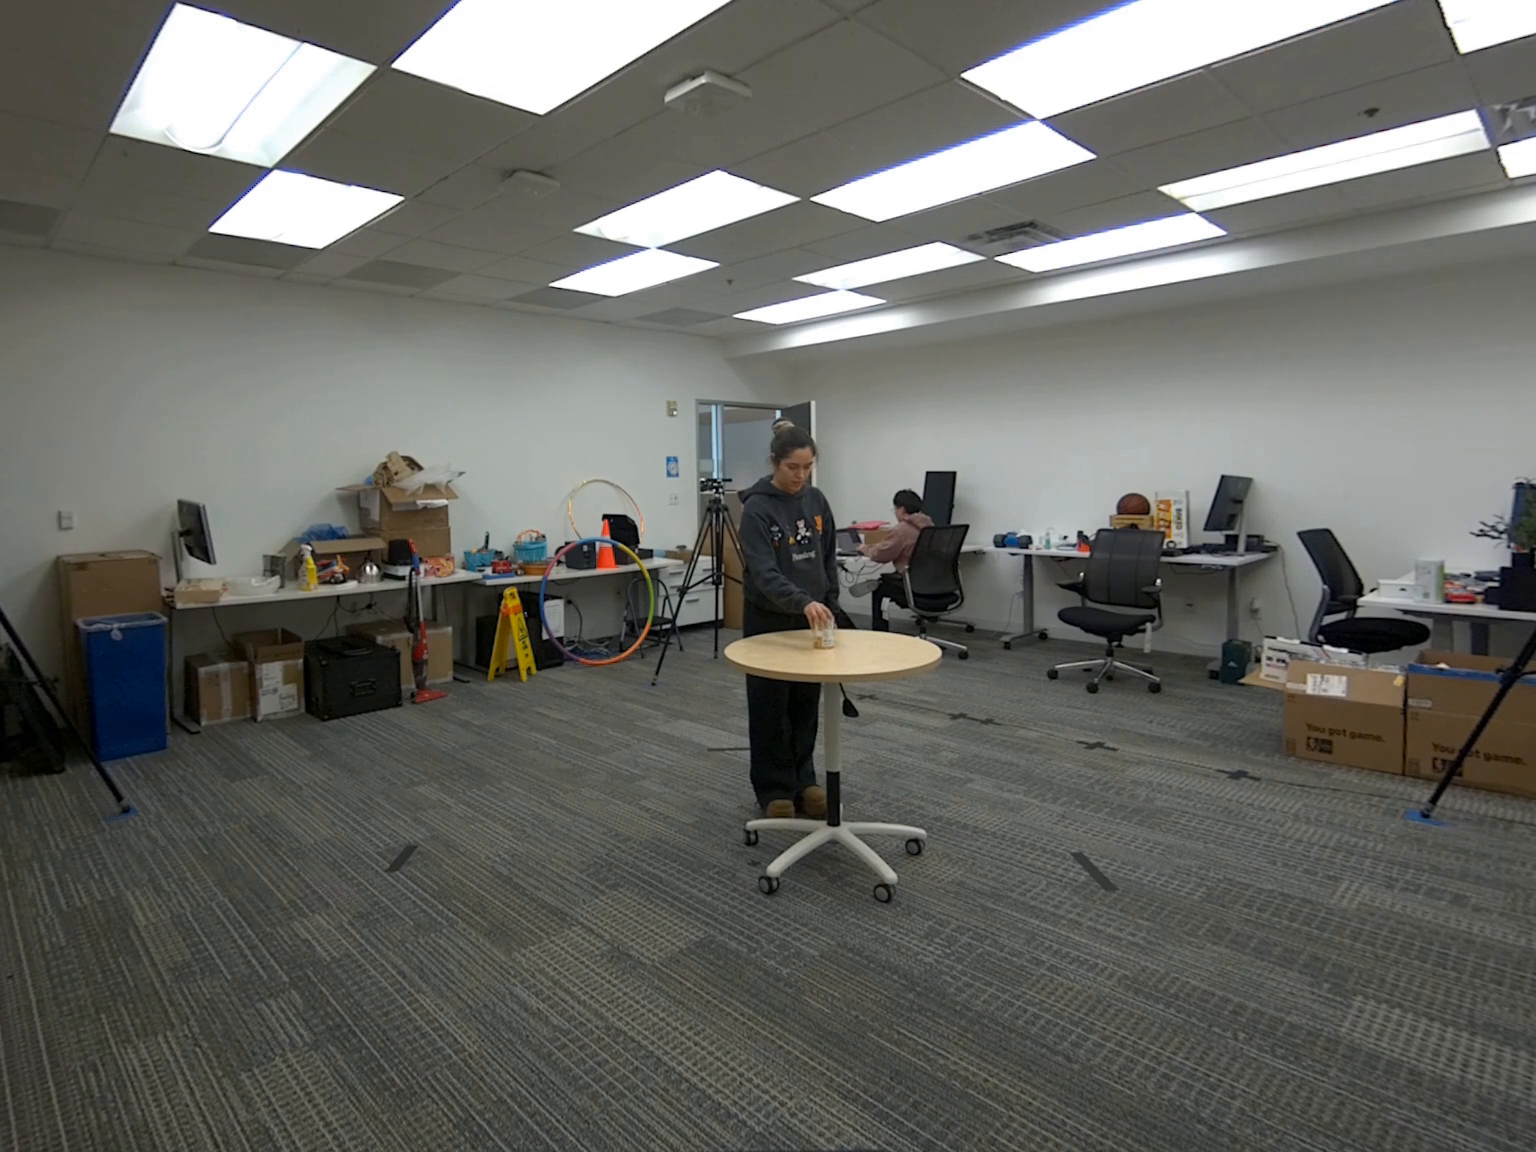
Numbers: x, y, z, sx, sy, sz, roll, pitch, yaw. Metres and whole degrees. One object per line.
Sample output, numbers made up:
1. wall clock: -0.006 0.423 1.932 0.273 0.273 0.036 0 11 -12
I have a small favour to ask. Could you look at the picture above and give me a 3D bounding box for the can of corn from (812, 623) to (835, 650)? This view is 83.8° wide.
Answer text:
1. can of corn: 0.194 0.203 3.082 0.074 0.111 0.074 -4 3 -1
